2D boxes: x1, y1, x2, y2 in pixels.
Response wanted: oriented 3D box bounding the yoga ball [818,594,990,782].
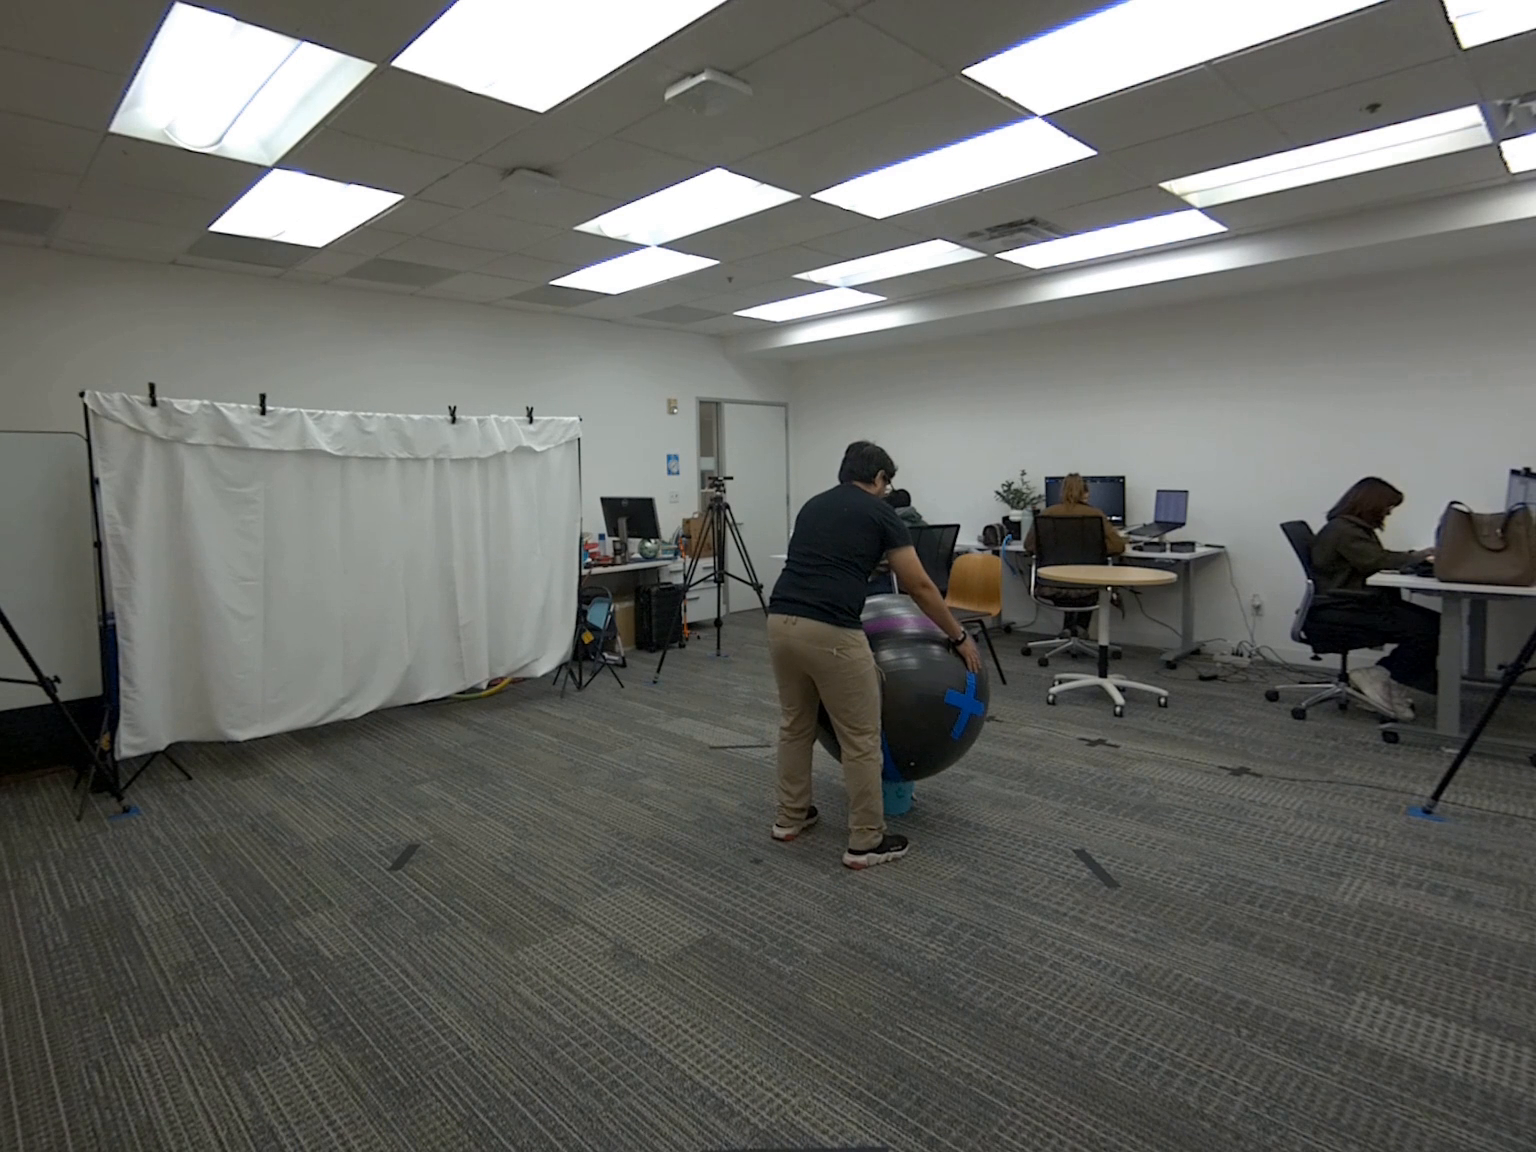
[{"bbox_3d":[0.524,0.461,3.513,0.757,0.755,0.762,-1,5,-2],"label":"yoga ball"}]
